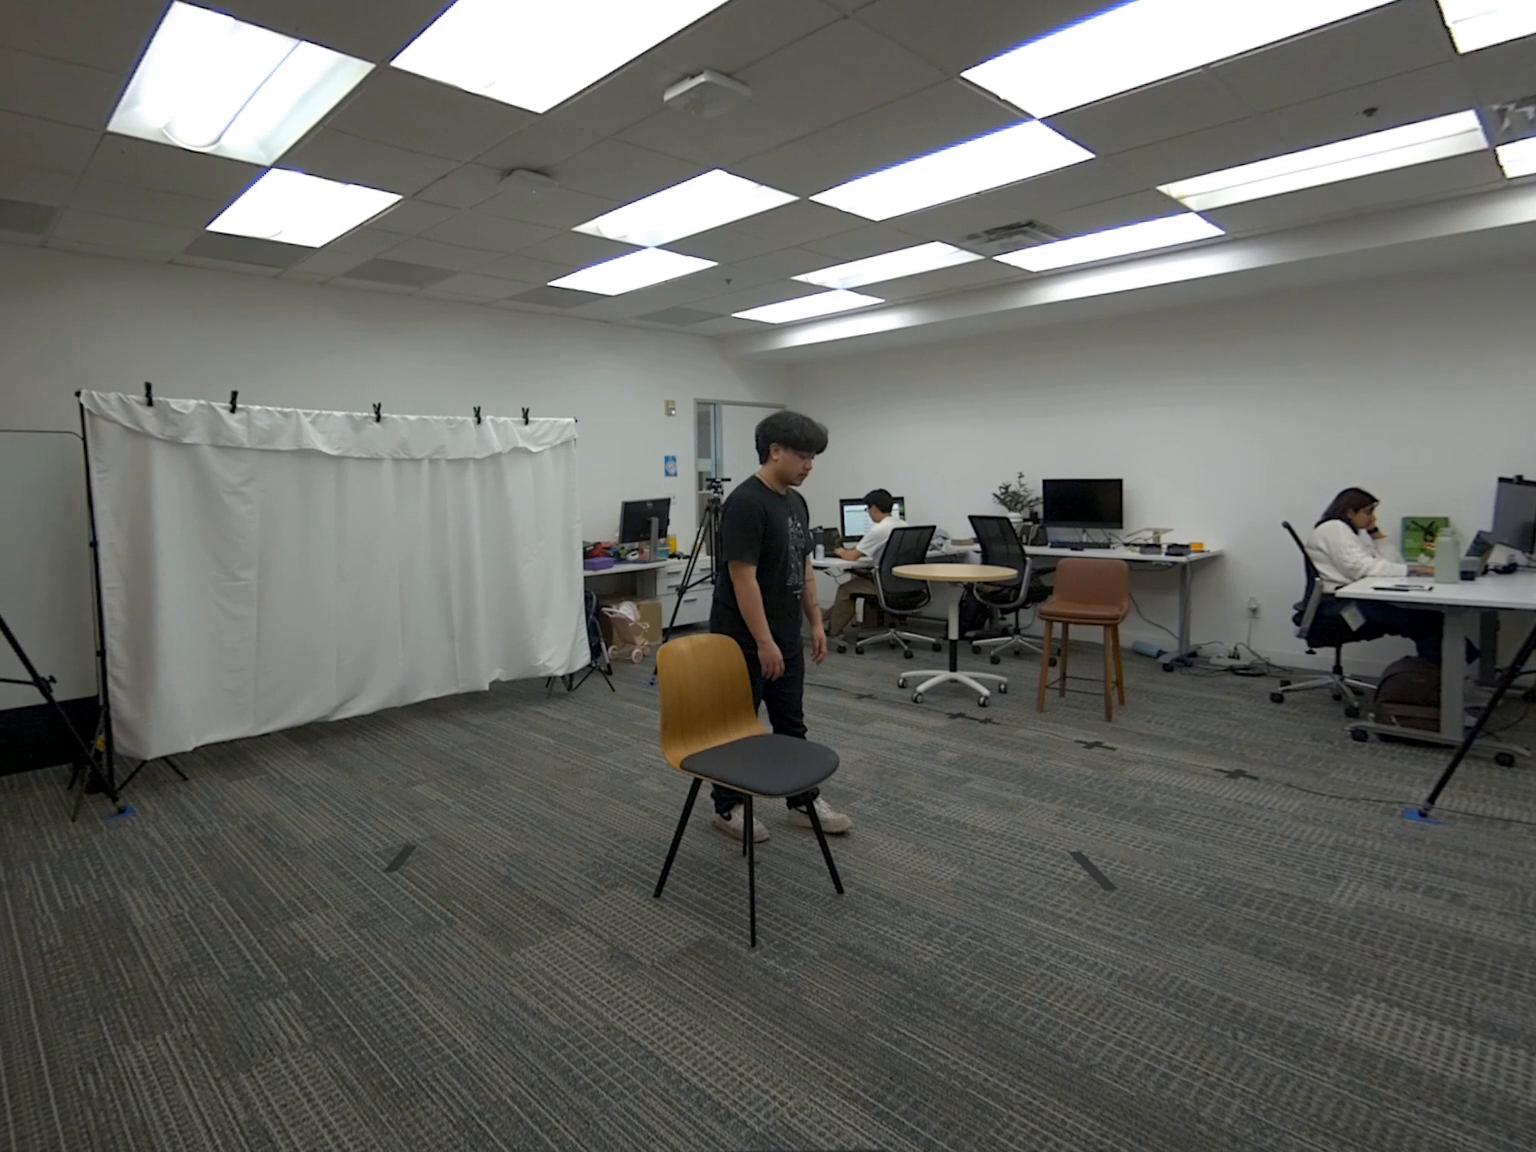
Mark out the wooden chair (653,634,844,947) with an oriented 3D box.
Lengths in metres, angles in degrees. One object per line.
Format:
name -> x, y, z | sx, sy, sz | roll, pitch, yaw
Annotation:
wooden chair -> -0.067, 0.652, 2.819 | 0.538, 0.877, 0.465 | -3, 2, 43
